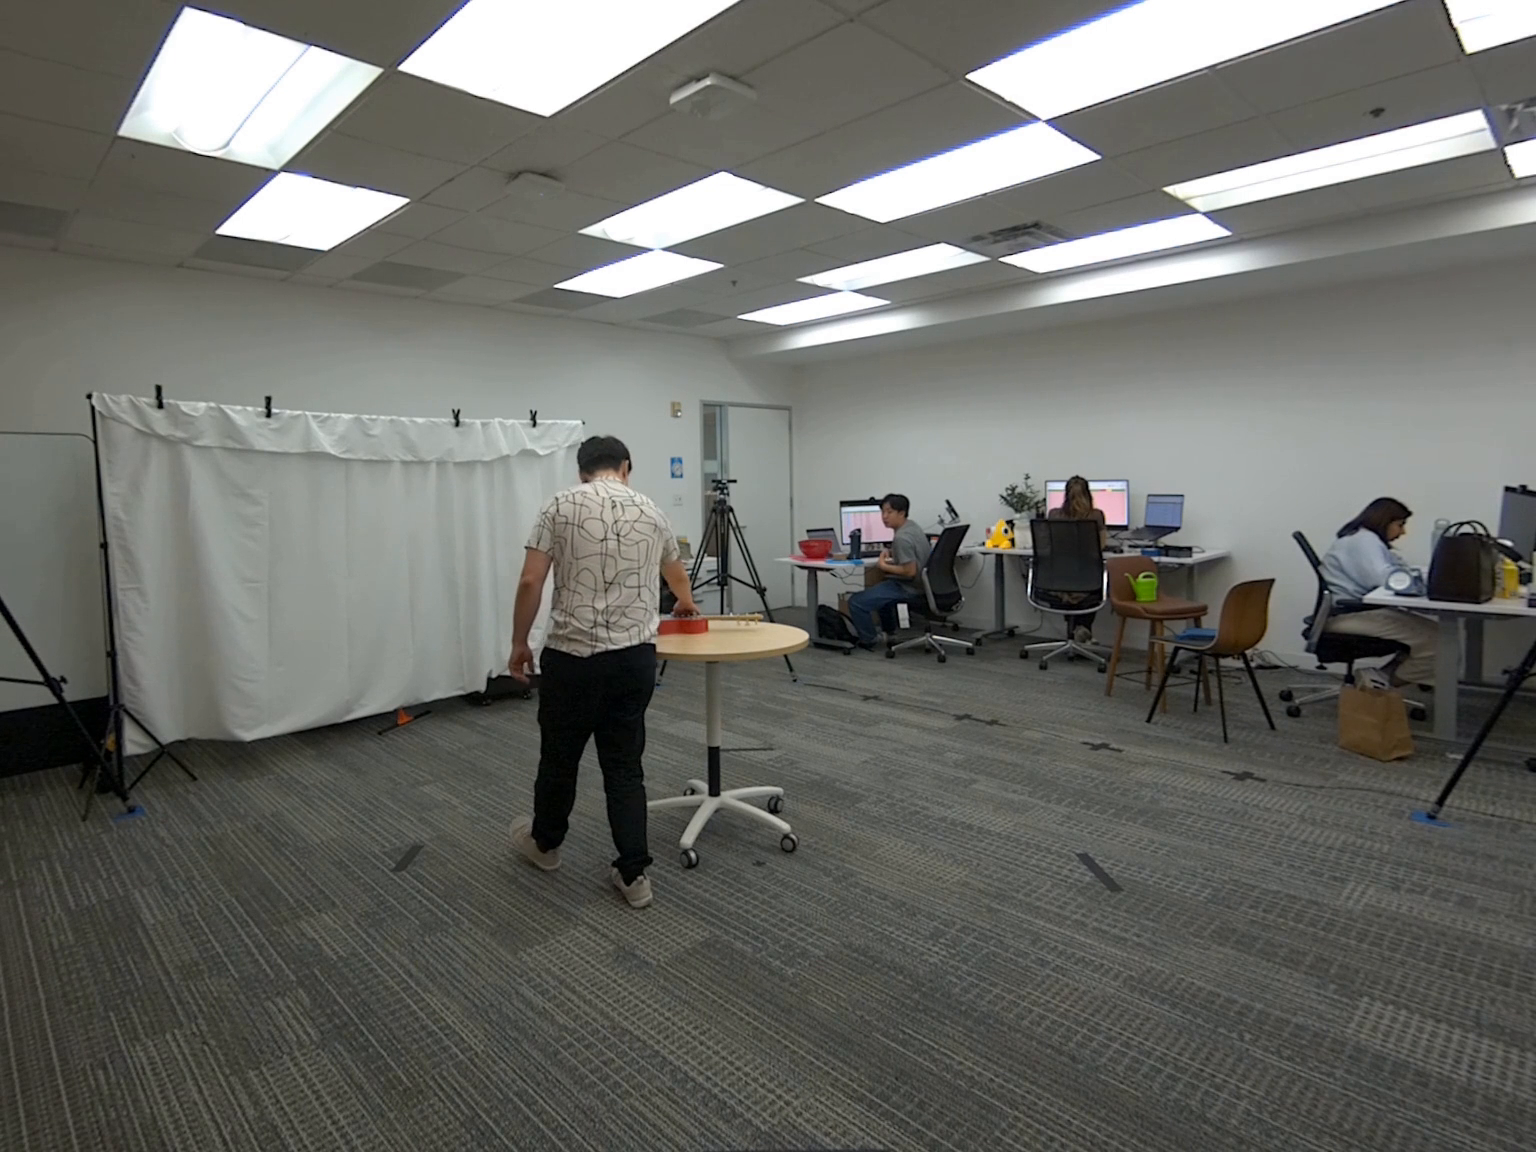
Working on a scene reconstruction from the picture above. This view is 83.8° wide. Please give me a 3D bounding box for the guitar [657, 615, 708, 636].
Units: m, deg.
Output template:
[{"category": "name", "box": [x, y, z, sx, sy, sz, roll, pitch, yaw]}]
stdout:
[{"category": "guitar", "box": [-0.275, 0.196, 3.464, 0.502, 0.070, 0.192, 0, 5, 9]}]
